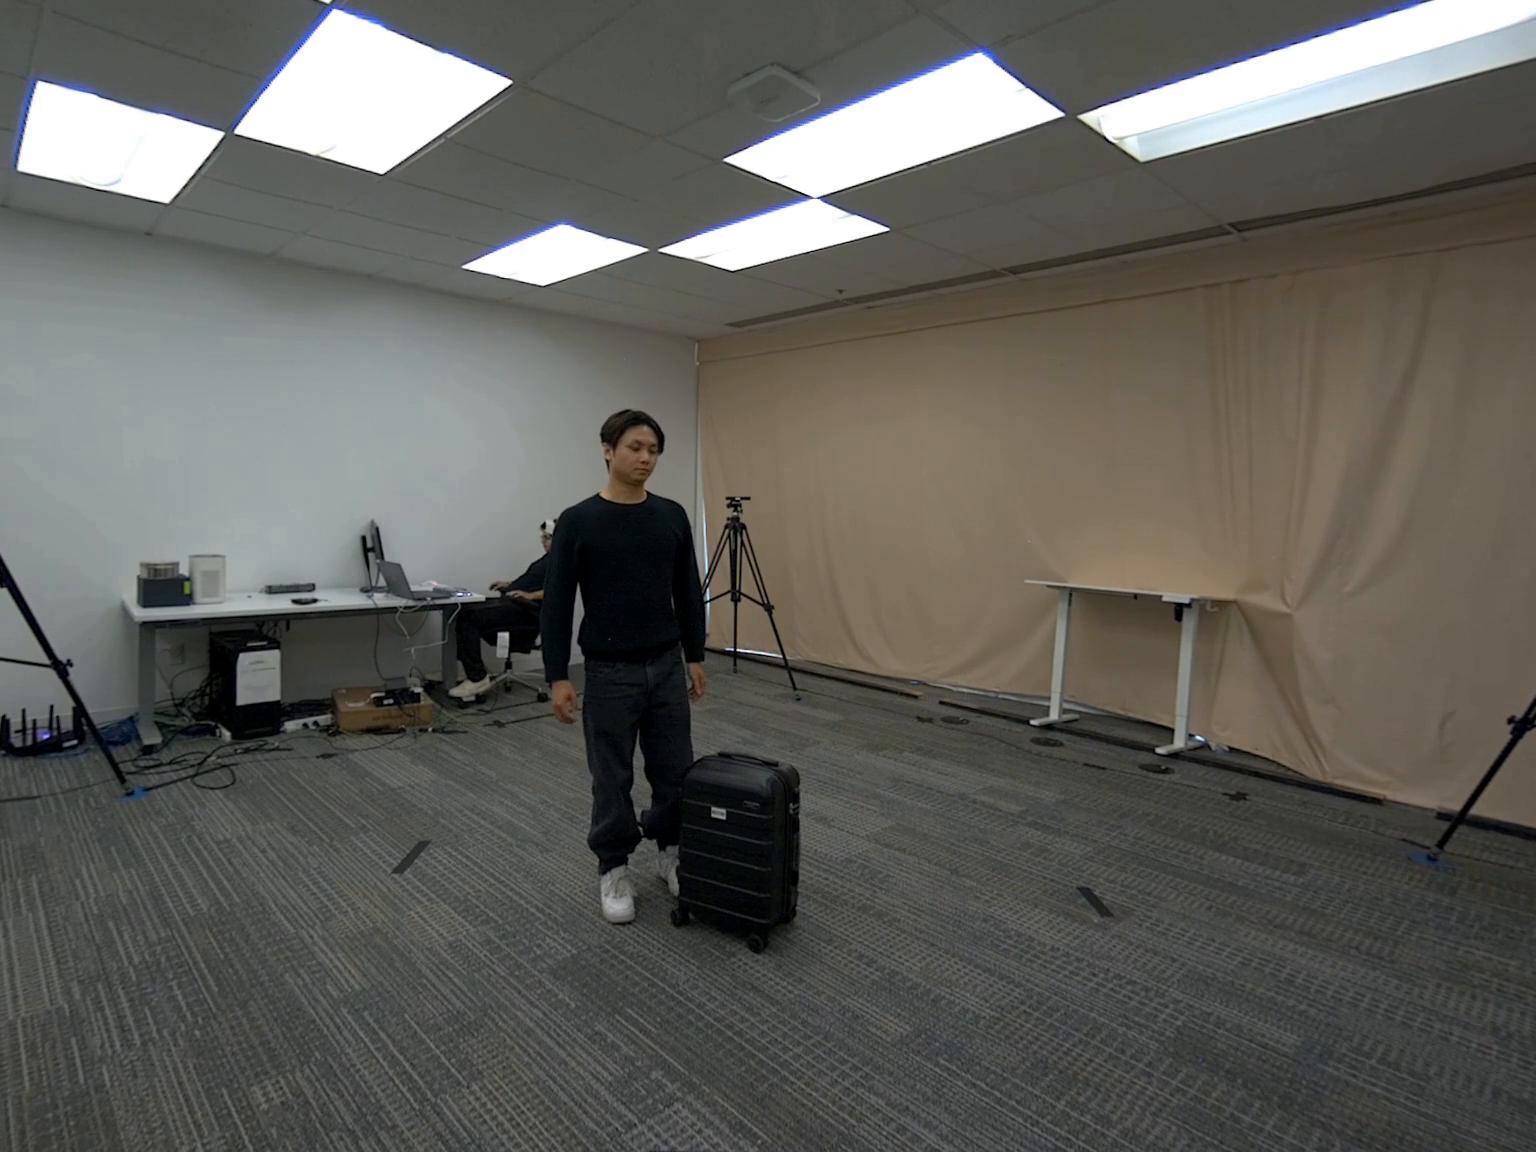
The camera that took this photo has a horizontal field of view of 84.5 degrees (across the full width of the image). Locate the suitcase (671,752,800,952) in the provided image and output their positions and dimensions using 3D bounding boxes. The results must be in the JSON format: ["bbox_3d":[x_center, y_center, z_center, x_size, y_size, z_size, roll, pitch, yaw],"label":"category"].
[{"bbox_3d":[-0.095,0.869,2.722,0.383,0.548,0.244,4,5,26],"label":"suitcase"}]
